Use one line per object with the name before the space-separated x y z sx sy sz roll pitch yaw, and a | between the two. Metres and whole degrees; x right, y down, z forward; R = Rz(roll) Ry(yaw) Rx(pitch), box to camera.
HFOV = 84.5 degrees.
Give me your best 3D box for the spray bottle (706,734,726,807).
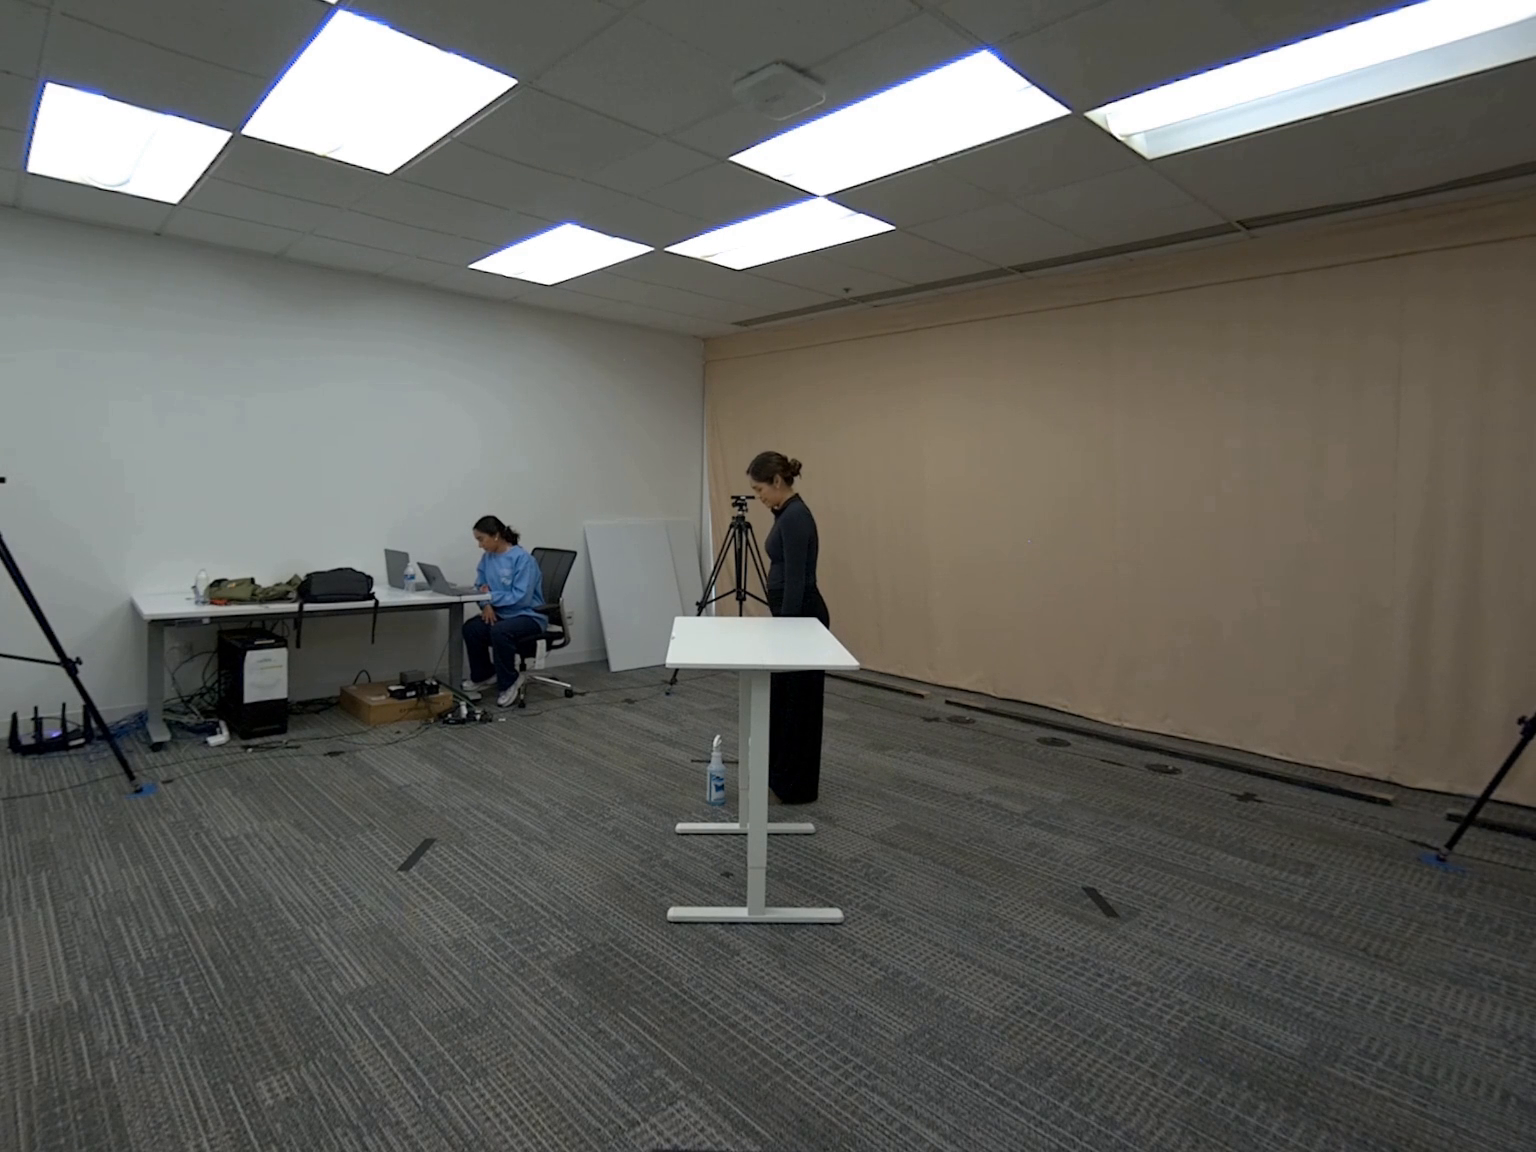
spray bottle | -0.247 0.891 3.851 0.089 0.297 0.088 2 2 32
